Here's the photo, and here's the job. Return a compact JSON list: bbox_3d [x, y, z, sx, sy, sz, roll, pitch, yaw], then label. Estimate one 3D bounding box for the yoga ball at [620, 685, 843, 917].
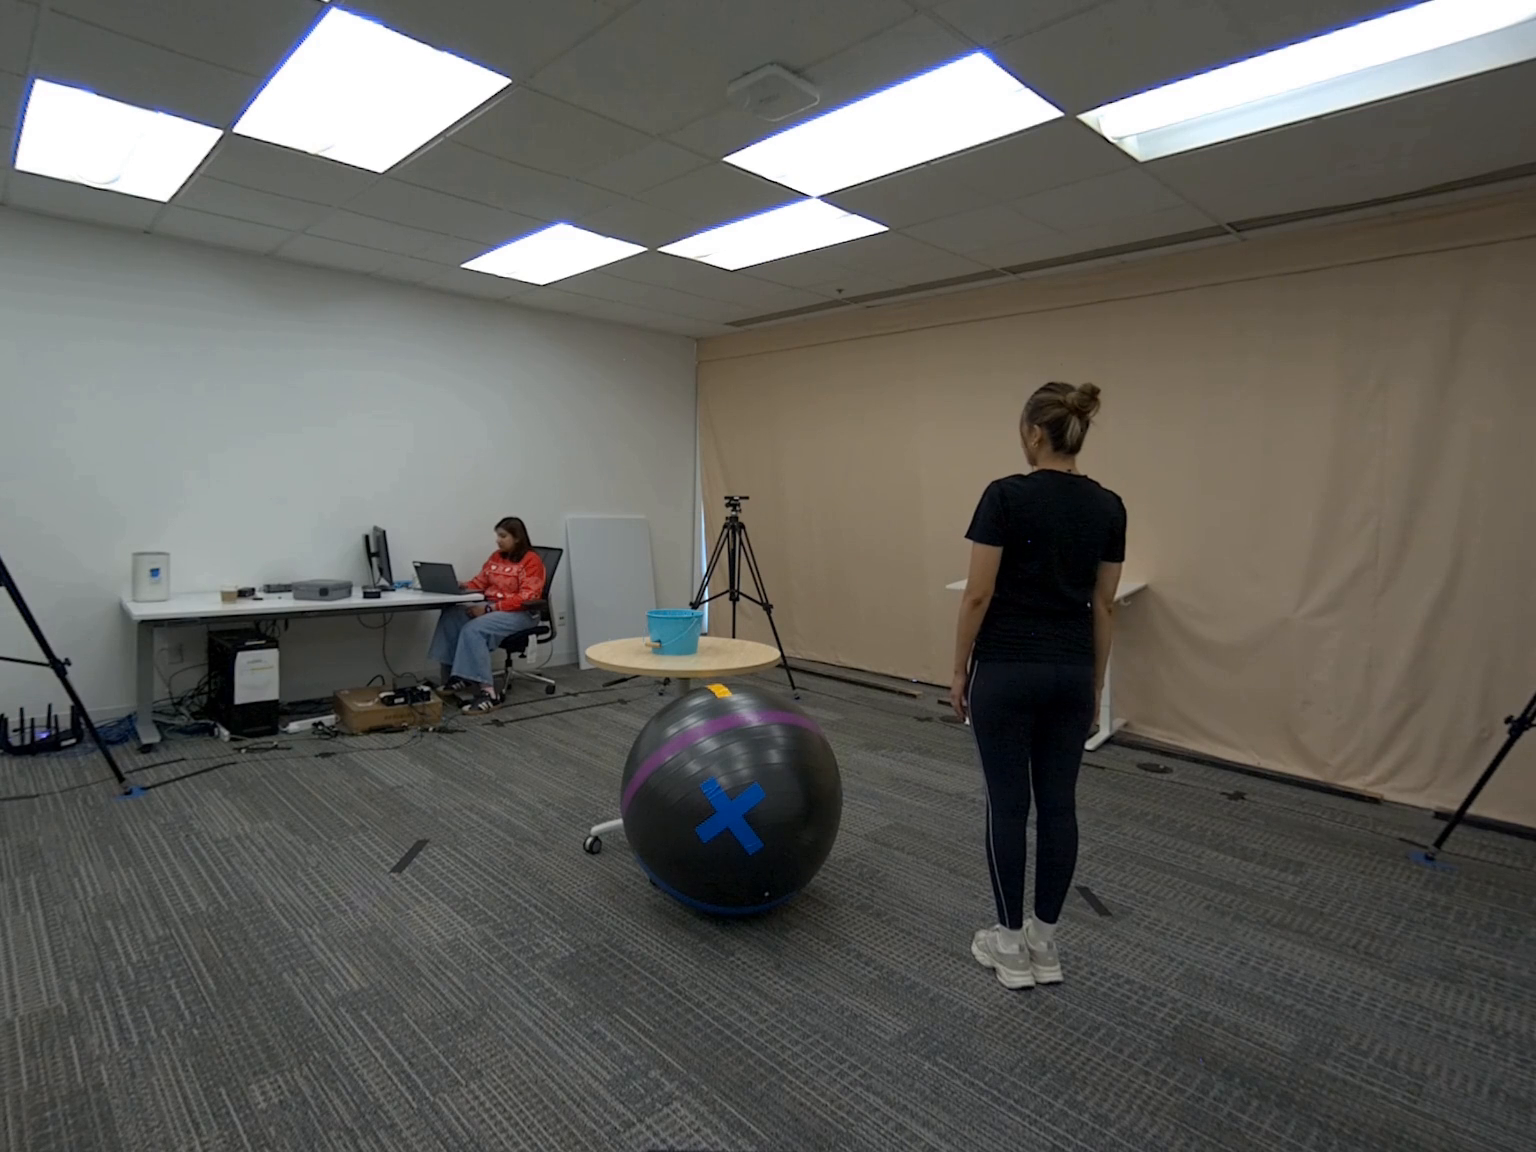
[{"bbox_3d":[-0.131,0.757,2.882,0.757,0.756,0.761,1,4,-1],"label":"yoga ball"}]
